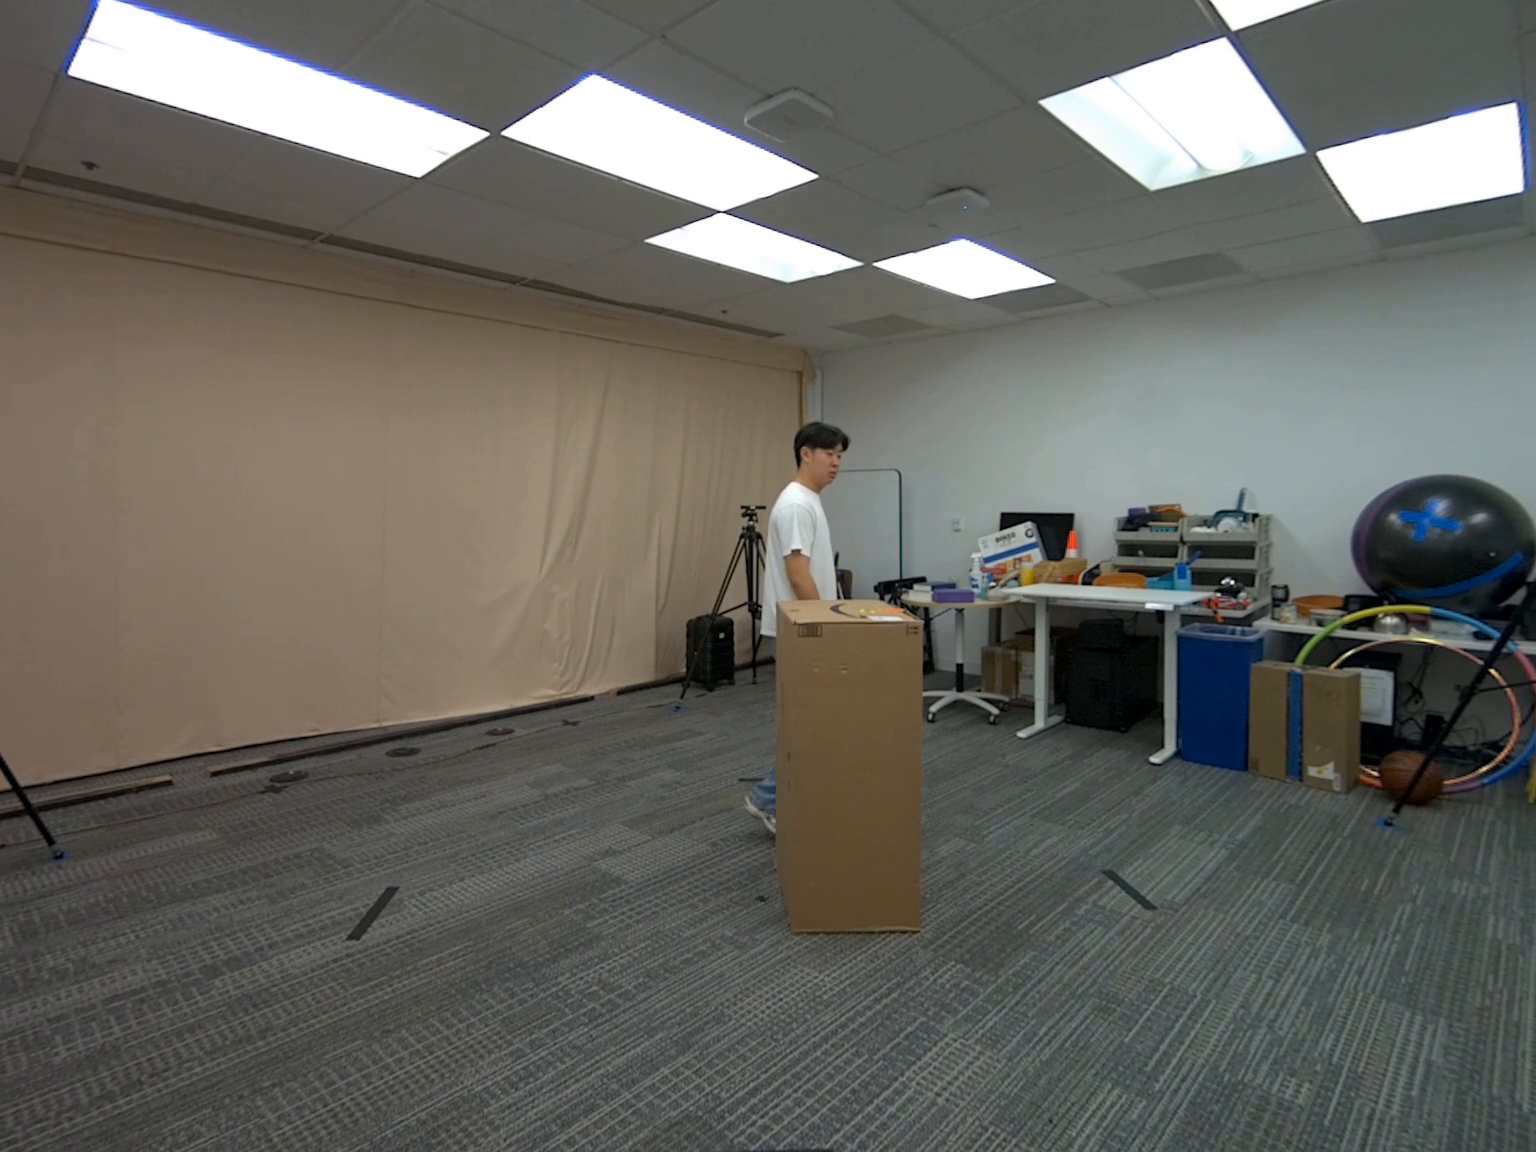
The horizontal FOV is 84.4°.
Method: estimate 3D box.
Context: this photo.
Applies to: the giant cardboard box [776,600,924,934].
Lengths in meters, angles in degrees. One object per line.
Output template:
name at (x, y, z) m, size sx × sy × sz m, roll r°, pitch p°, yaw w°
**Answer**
giant cardboard box at (0.272, 0.632, 2.996) m, size 0.425 × 1.024 × 0.581 m, roll 0°, pitch 3°, yaw -5°
